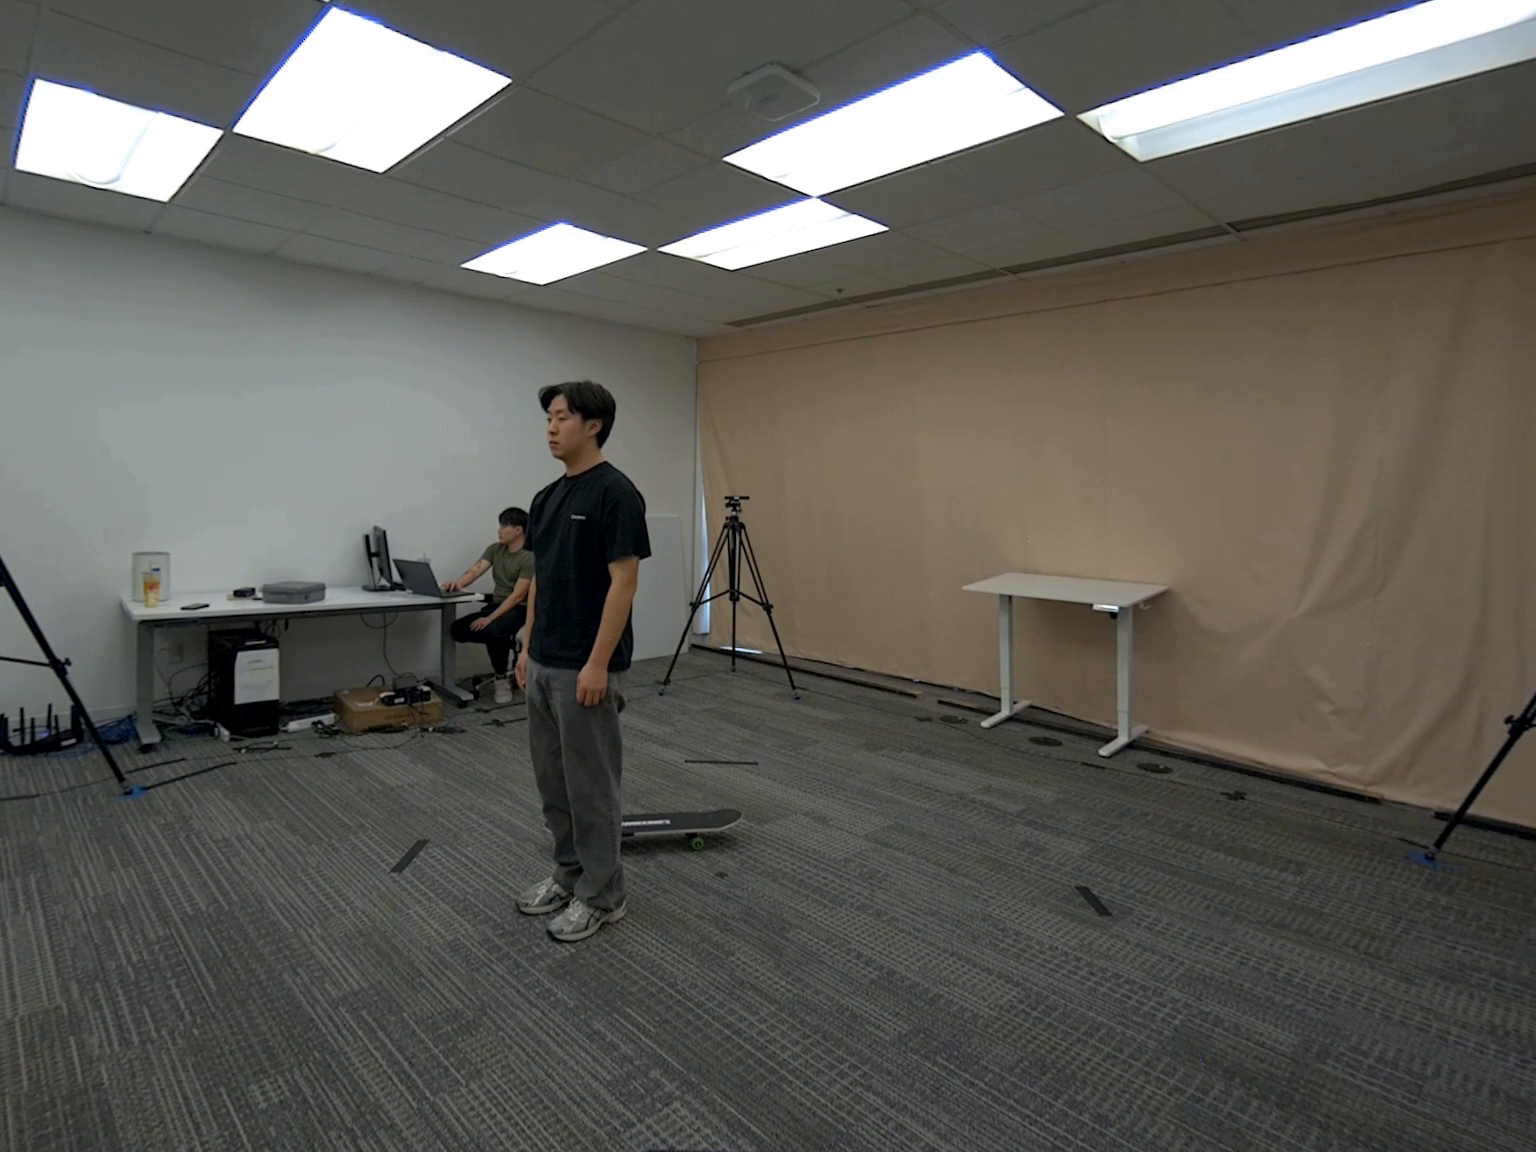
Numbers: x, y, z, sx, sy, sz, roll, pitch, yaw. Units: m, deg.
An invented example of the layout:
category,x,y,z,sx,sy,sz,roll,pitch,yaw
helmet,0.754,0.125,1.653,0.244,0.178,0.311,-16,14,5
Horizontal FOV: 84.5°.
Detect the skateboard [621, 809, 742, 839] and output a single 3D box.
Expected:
category,x,y,z,sx,sy,sz,roll,pitch,yaw
skateboard,-0.492,1.012,3.351,0.778,0.110,0.196,0,4,-11
